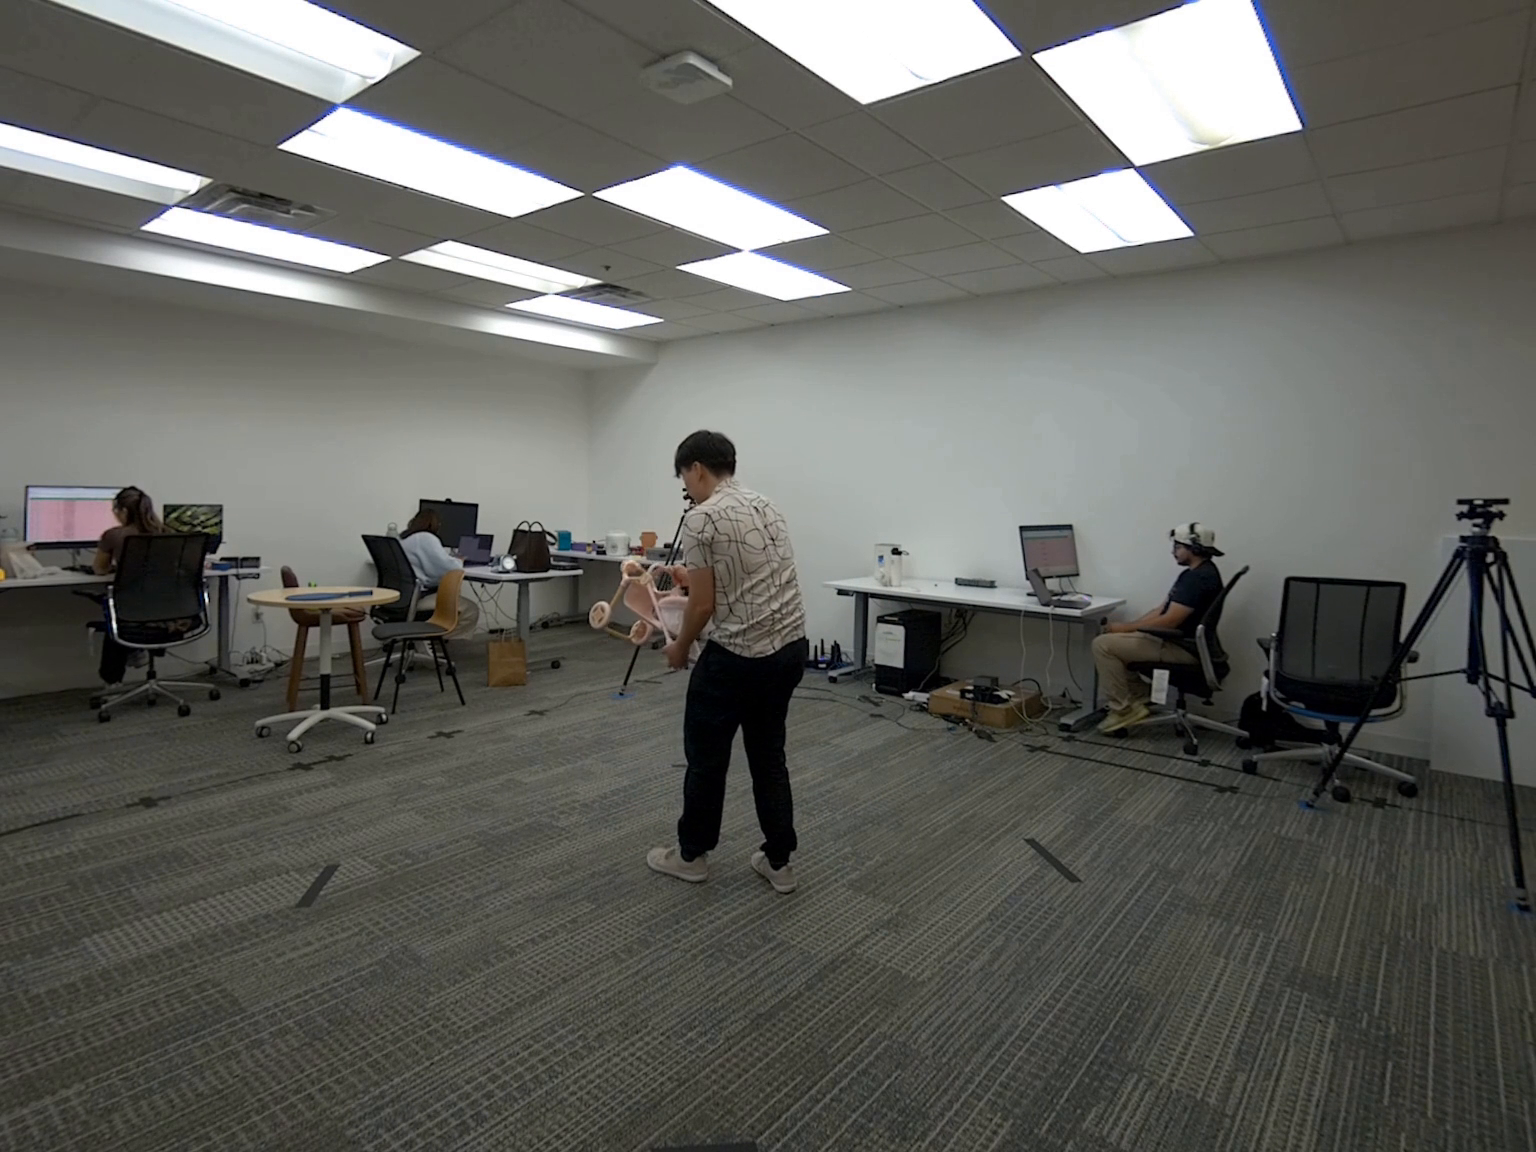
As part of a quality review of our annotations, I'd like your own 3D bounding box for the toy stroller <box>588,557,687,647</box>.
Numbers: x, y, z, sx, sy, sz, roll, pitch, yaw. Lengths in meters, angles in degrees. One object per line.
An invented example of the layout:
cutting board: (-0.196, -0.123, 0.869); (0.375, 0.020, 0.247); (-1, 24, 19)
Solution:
toy stroller: (-0.457, 0.118, 3.344); (0.554, 0.343, 0.269); (11, -17, 39)
